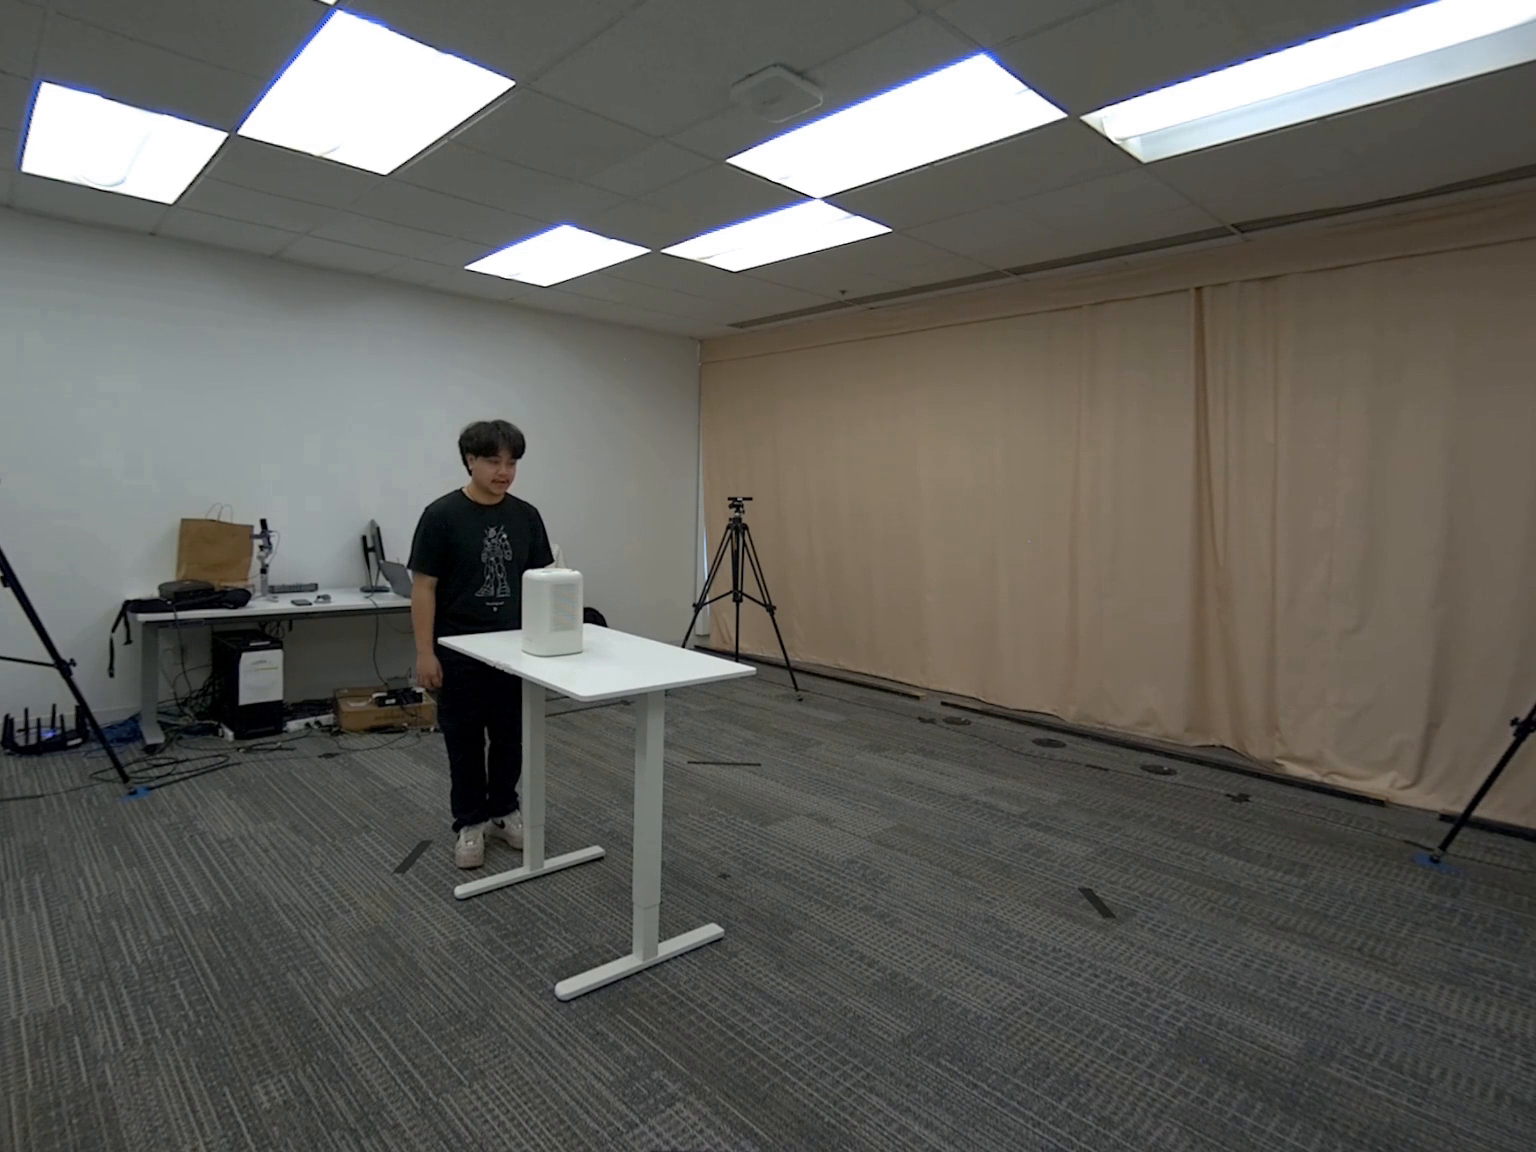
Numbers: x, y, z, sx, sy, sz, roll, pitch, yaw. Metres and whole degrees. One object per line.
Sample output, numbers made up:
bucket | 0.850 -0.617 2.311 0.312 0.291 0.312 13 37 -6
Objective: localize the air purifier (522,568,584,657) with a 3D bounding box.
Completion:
air purifier | -0.703 0.113 2.719 0.168 0.265 0.175 -1 5 -40
